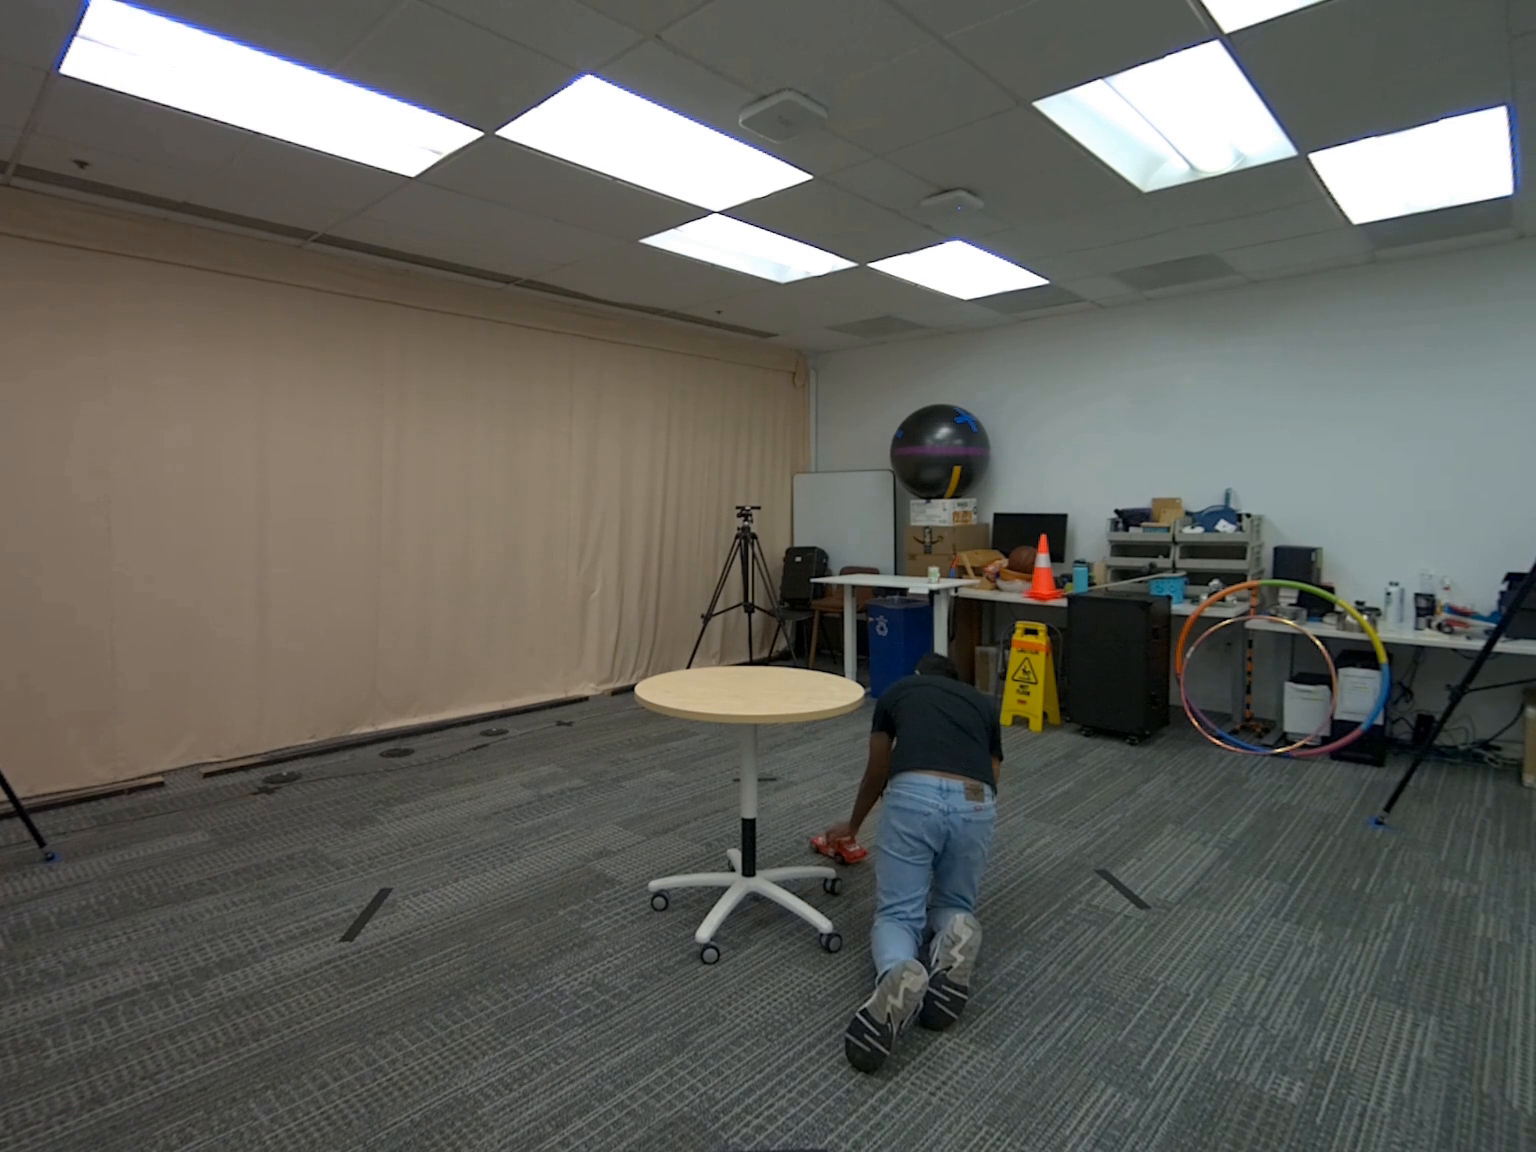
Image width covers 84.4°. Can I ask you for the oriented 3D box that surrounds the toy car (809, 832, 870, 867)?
[{"bbox_3d":[0.287,1.078,3.336,0.126,0.083,0.261,-2,-5,-39],"label":"toy car"}]
